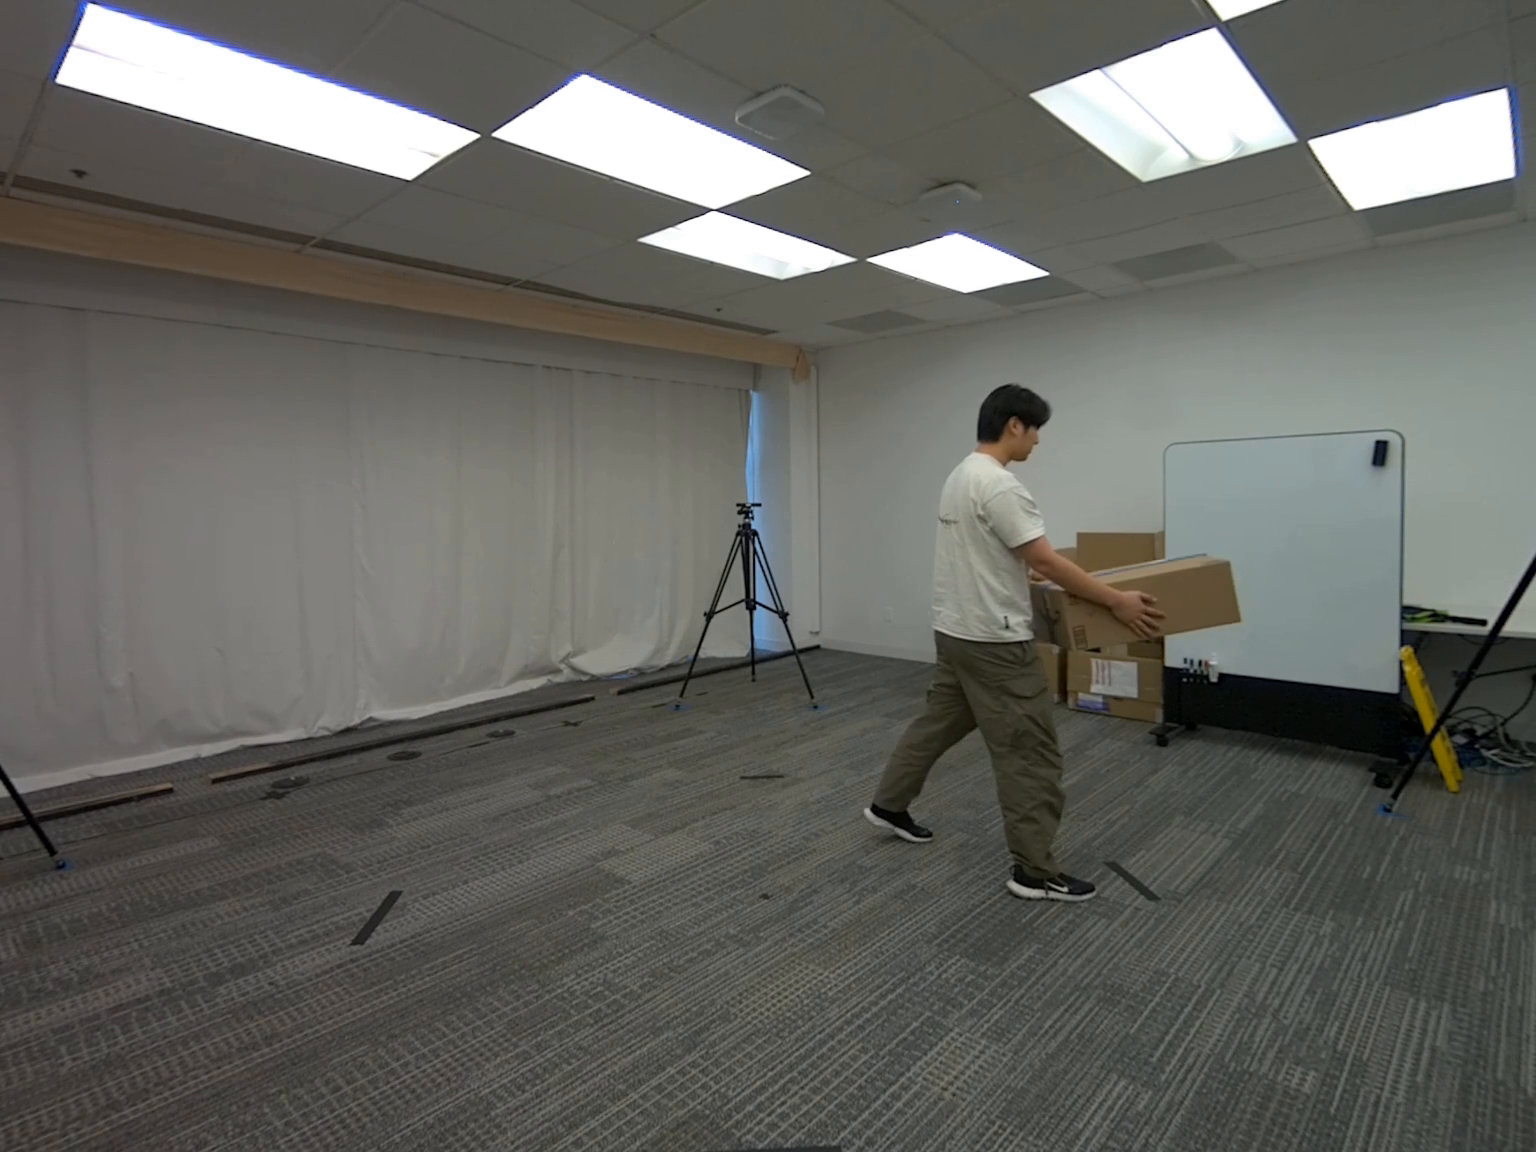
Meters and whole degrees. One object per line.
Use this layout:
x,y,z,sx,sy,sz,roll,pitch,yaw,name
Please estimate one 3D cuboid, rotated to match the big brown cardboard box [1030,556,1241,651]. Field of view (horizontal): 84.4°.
1.309,0.091,3.065,0.591,0.233,0.416,-11,1,3,big brown cardboard box
